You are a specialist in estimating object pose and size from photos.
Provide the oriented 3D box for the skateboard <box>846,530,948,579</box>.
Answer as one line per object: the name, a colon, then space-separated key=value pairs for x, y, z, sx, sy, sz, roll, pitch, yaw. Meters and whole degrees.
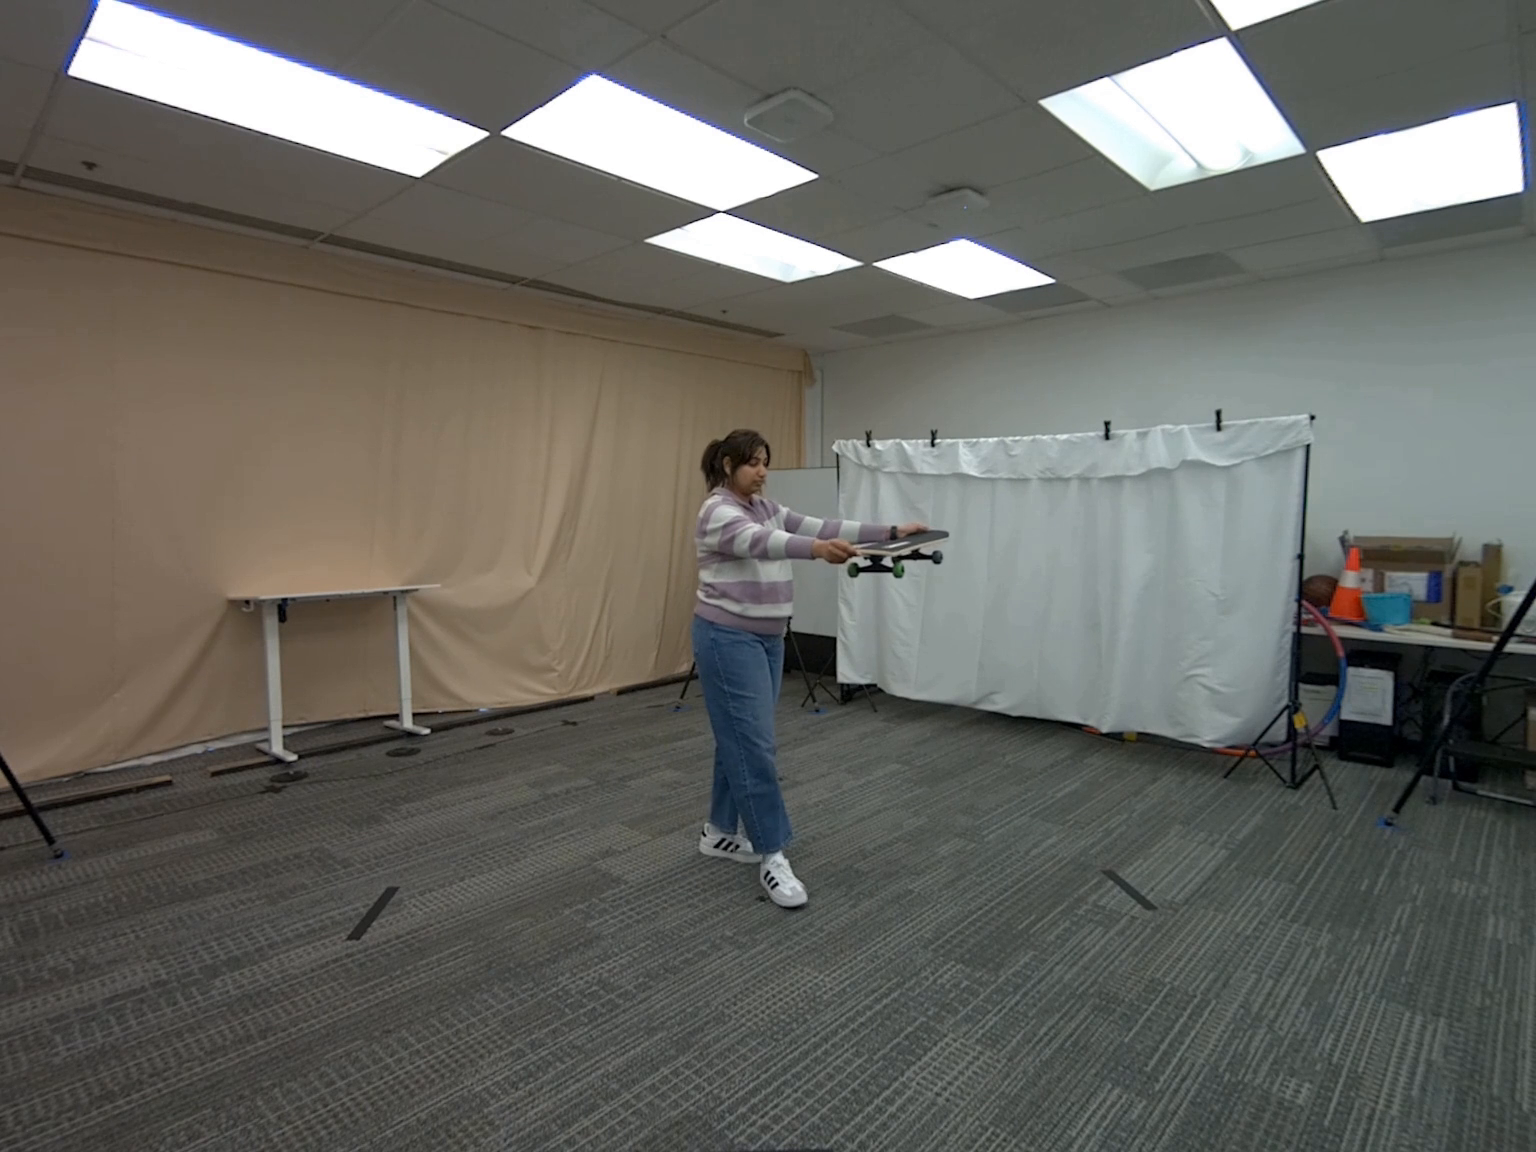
skateboard: x=0.449 y=-0.072 z=2.888 sx=0.199 sy=0.110 sz=0.766 roll=3 pitch=8 yaw=29
